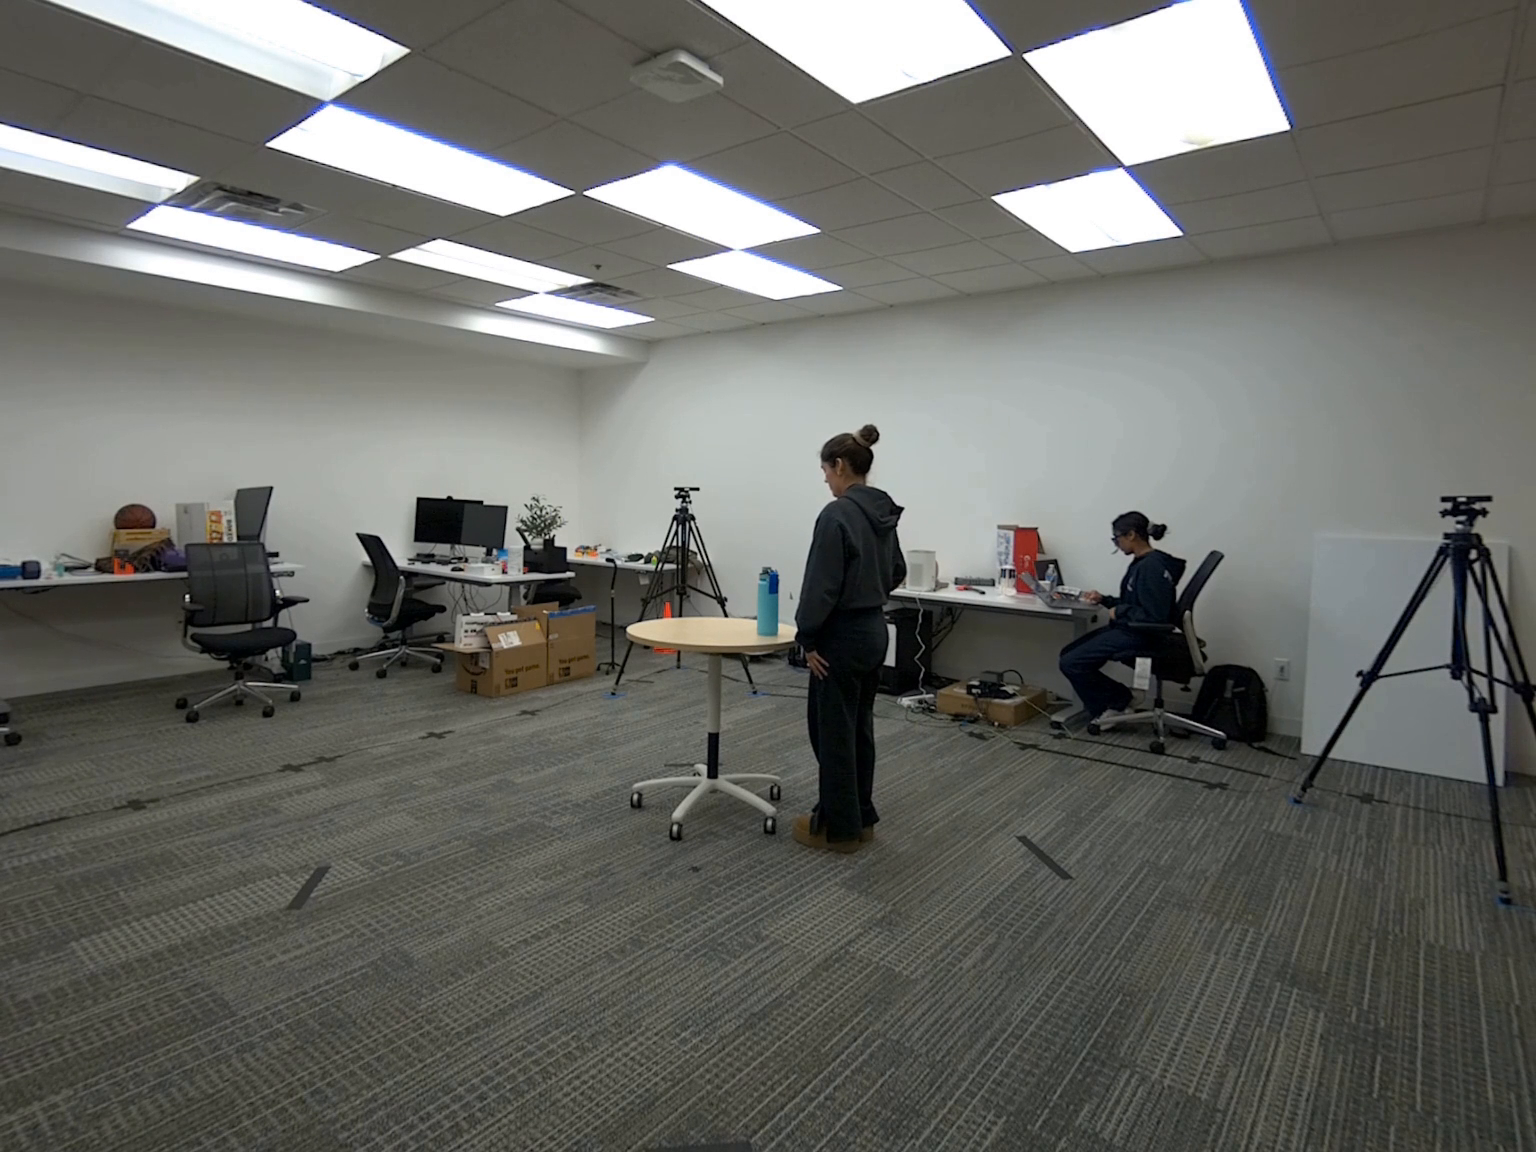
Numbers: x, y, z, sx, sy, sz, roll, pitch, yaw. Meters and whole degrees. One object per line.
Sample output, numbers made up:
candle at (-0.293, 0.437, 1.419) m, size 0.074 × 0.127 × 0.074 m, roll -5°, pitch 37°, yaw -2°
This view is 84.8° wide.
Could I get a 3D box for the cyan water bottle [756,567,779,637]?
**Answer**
cyan water bottle at (0.000, 0.103, 3.578) m, size 0.092 × 0.282 × 0.093 m, roll 2°, pitch 3°, yaw -2°
